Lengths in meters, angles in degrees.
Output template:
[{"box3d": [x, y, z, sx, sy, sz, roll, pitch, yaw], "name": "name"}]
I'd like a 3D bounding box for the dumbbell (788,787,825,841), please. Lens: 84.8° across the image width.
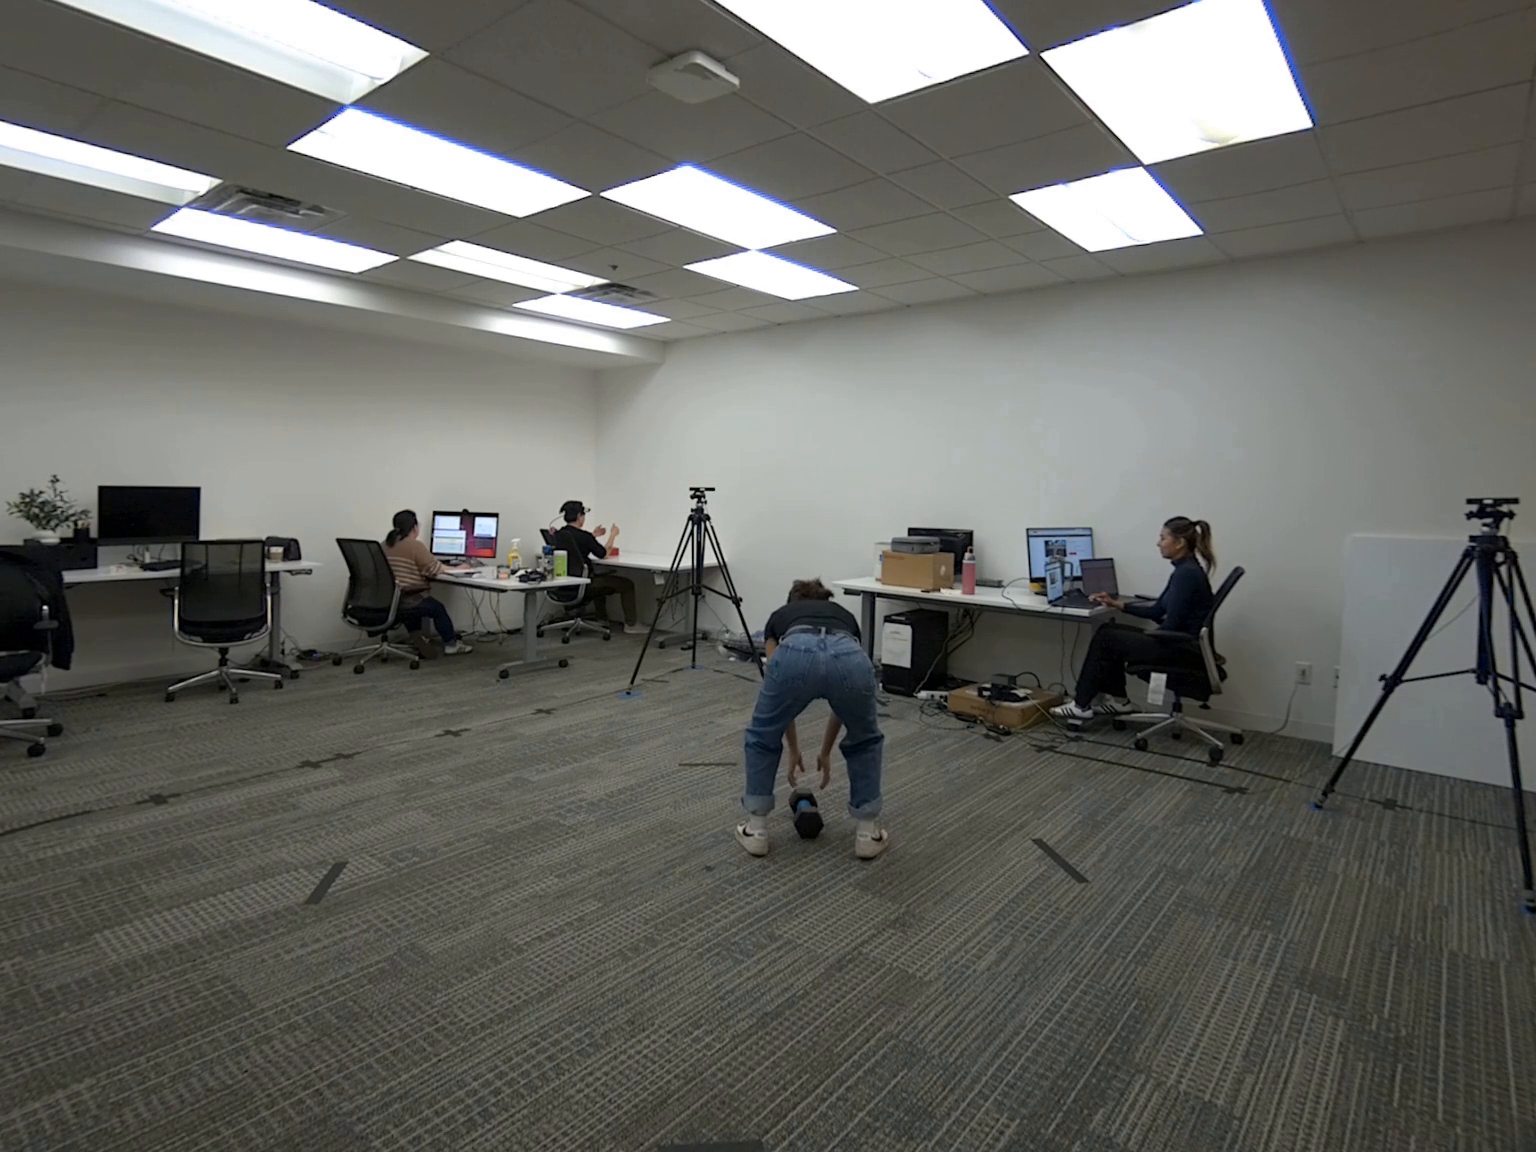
[{"box3d": [0.148, 0.981, 3.535, 0.109, 0.122, 0.296, -30, 7, 0], "name": "dumbbell"}]
